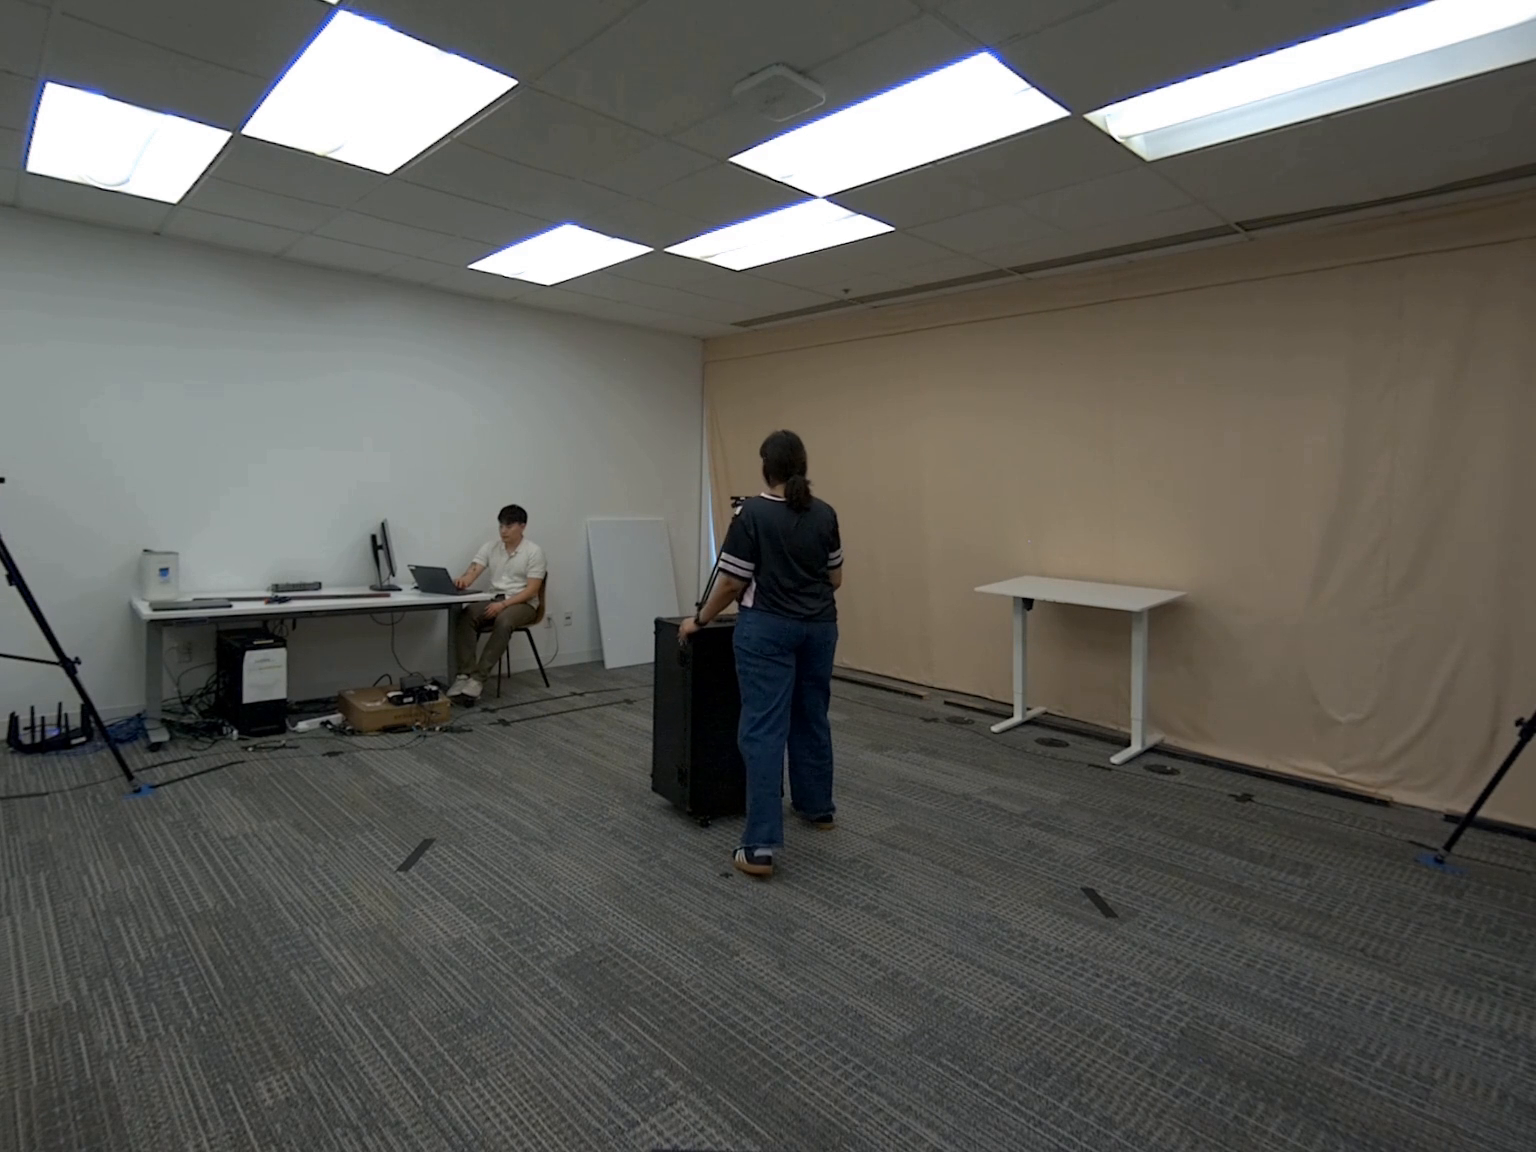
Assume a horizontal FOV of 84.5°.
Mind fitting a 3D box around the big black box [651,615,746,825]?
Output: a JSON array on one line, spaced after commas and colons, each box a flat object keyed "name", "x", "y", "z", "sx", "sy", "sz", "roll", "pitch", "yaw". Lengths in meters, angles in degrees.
[{"name": "big black box", "x": -0.241, "y": 0.625, "z": 3.759, "sx": 0.512, "sy": 0.867, "sz": 0.394, "roll": 0, "pitch": 3, "yaw": -34}]
